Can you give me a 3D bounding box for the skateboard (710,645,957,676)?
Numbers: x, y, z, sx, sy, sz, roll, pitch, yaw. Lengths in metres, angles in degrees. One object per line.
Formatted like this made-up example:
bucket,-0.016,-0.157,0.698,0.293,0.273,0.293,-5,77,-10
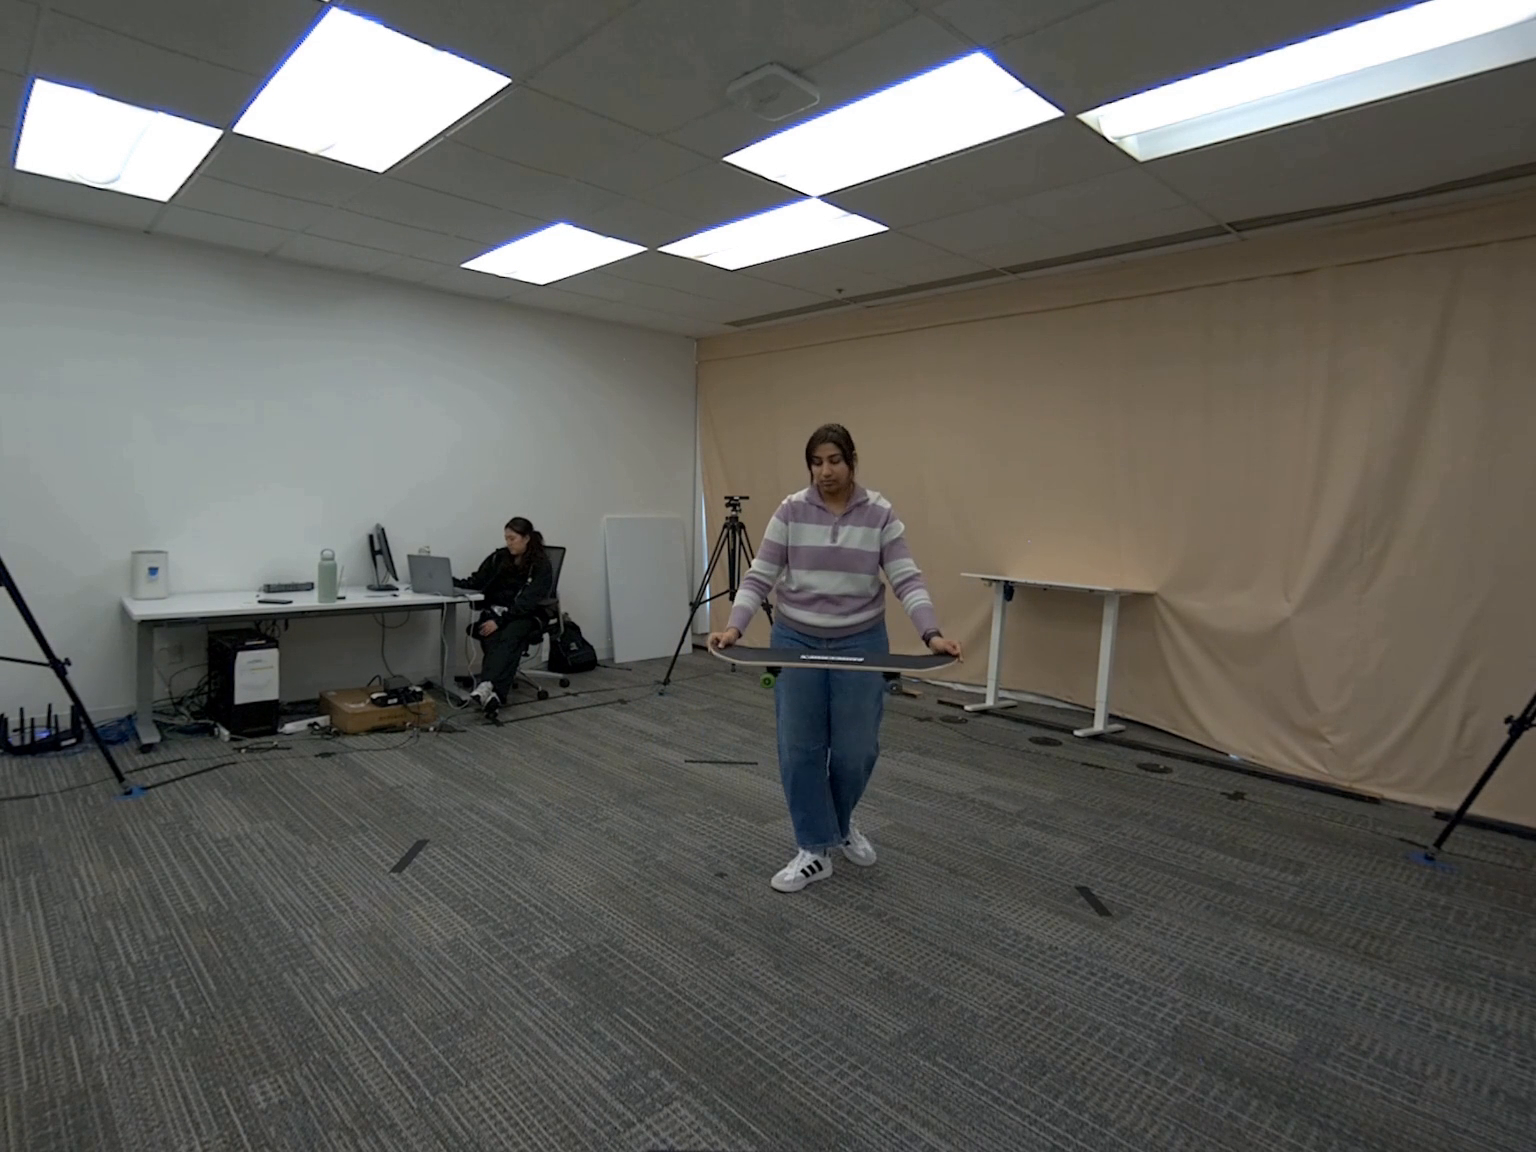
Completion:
skateboard,0.219,0.305,2.722,0.791,0.110,0.193,0,9,8
